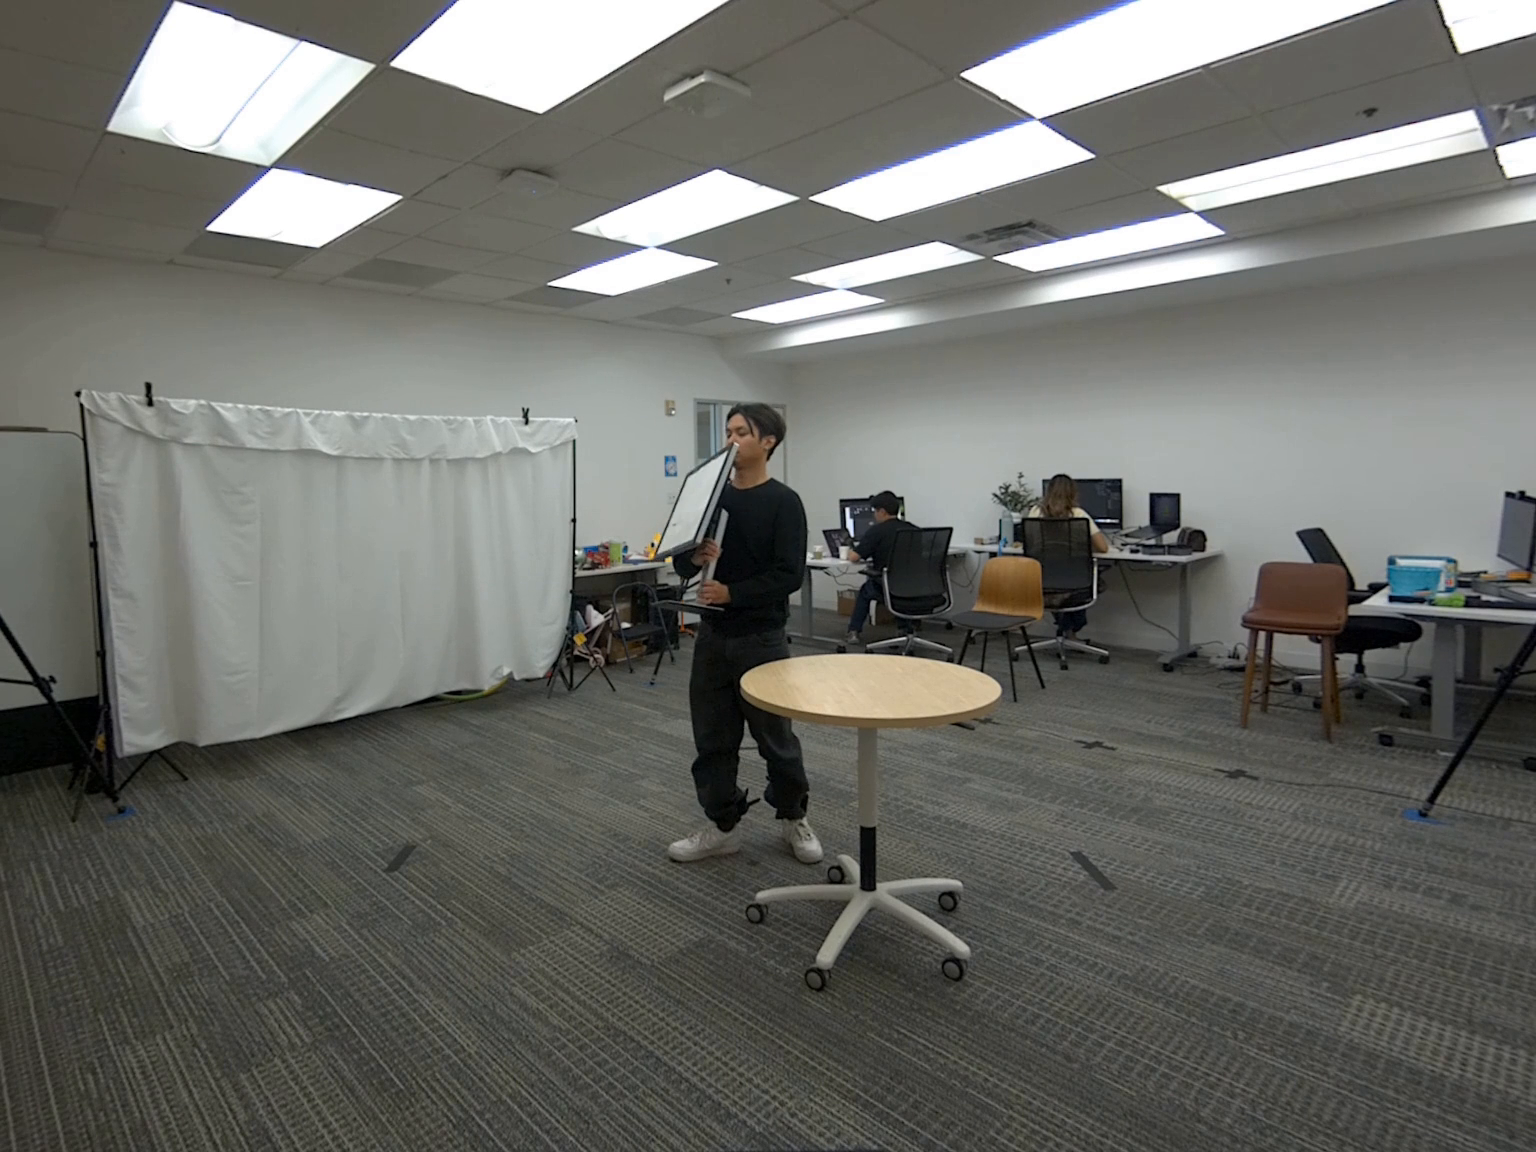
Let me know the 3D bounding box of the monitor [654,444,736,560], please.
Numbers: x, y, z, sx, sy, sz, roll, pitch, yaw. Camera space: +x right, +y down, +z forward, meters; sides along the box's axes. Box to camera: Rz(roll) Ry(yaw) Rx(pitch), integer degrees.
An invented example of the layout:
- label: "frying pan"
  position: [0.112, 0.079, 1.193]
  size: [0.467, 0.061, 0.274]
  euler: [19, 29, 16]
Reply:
- label: "monitor"
  position: [-0.245, -0.157, 2.993]
  size: [0.171, 0.519, 0.537]
  euler: [6, -8, -21]
